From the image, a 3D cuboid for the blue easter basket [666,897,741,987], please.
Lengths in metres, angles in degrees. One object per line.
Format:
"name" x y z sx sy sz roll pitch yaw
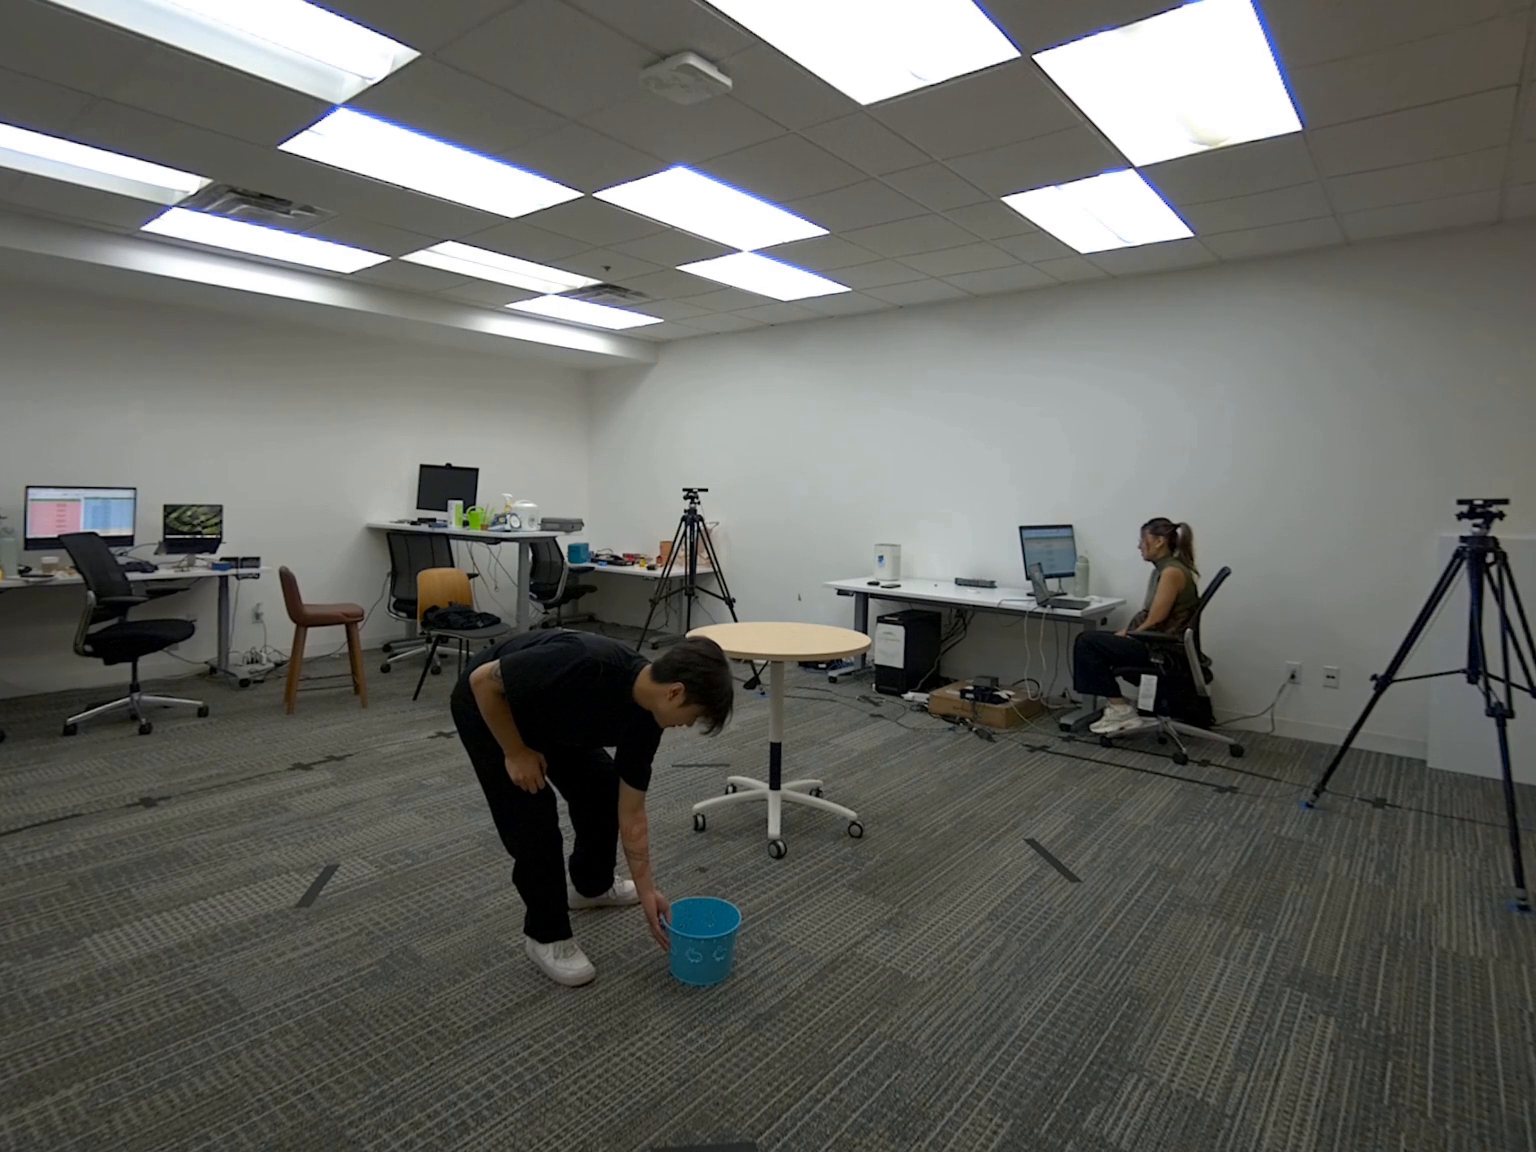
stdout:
"blue easter basket" -0.192 1.057 2.469 0.243 0.155 0.245 1 5 -2
